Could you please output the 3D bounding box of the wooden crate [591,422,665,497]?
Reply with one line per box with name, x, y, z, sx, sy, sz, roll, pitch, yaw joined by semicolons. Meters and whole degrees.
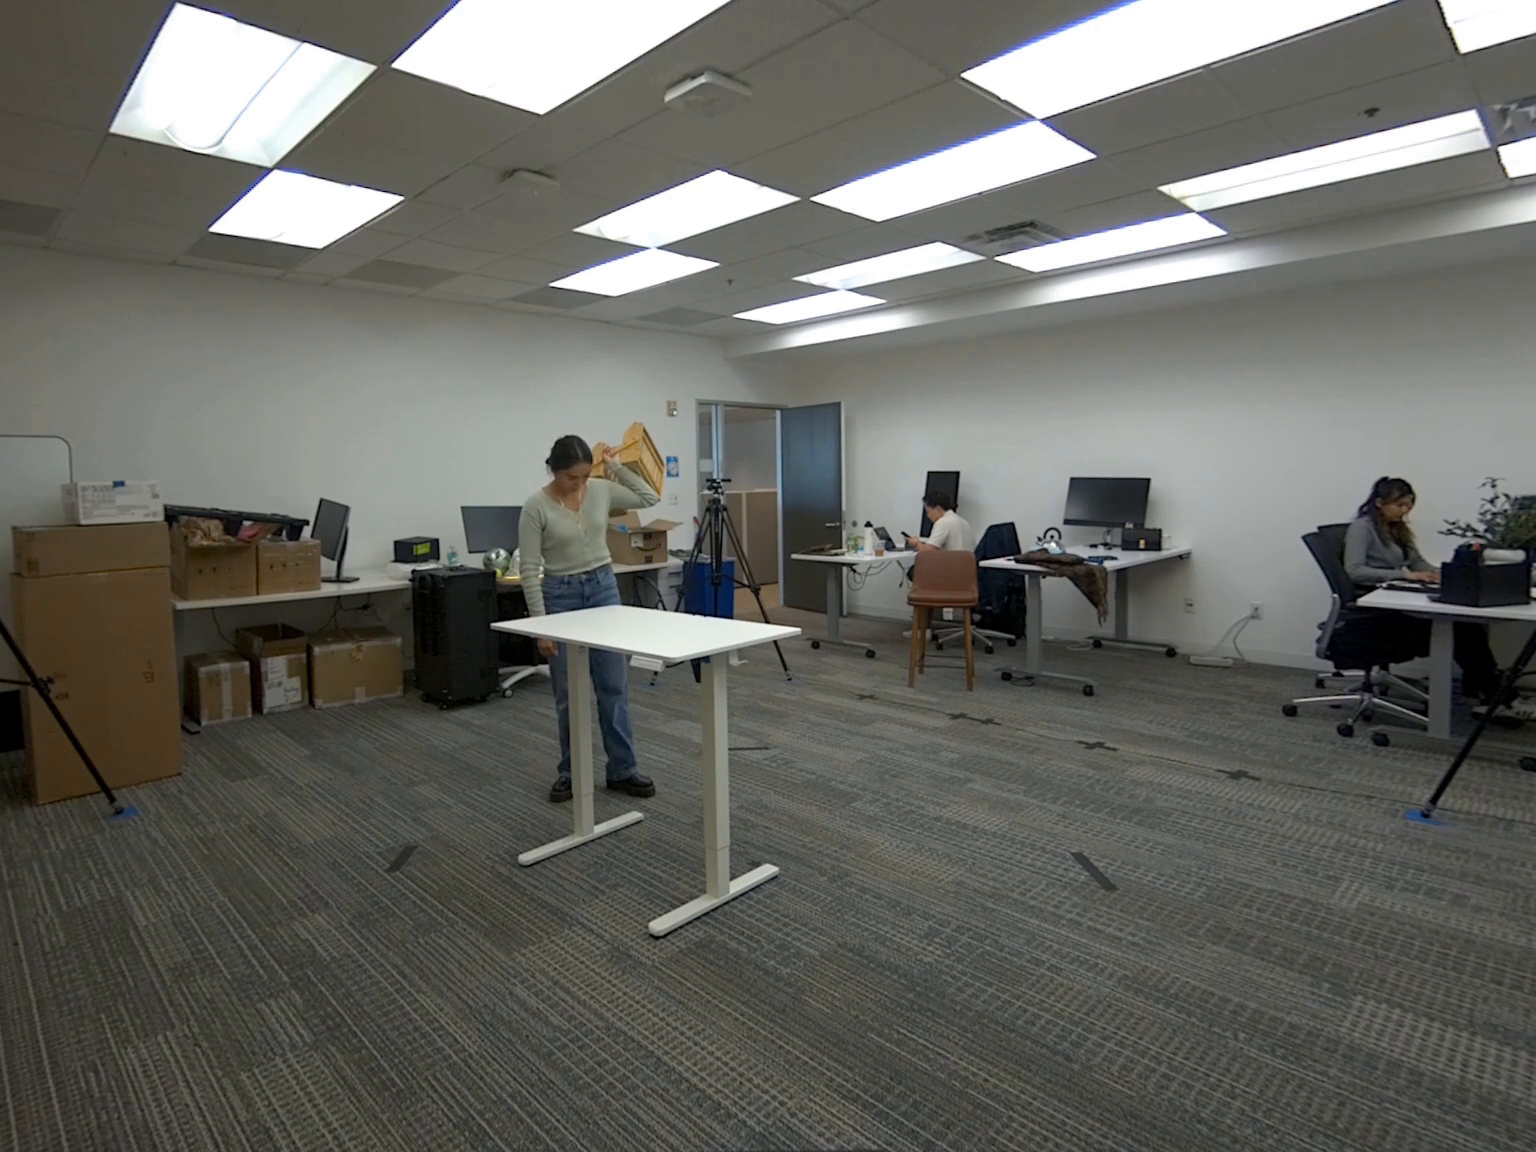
wooden crate;-0.674;-0.502;4.036;0.277;0.309;0.313;-7;-37;15
